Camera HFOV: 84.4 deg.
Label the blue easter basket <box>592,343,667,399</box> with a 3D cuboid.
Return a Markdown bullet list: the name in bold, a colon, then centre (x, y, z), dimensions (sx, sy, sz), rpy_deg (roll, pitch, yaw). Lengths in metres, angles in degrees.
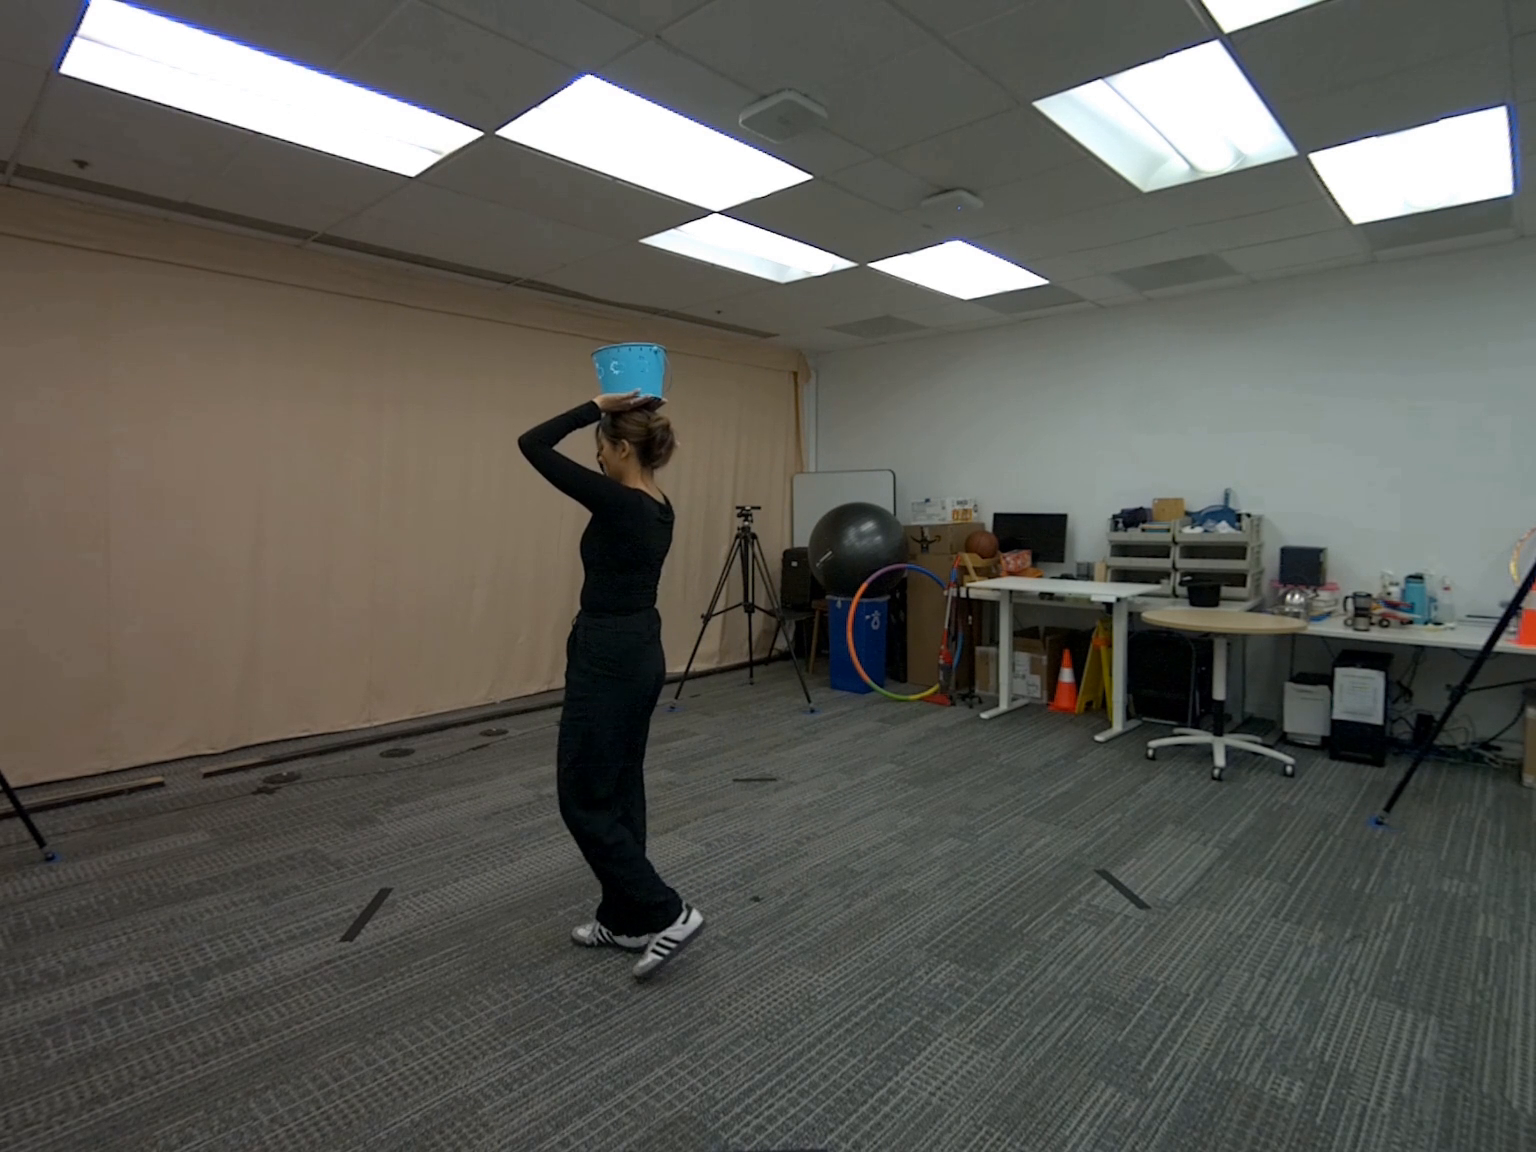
- **blue easter basket**: centre (-0.414, -0.610, 2.572), dimensions (0.243, 0.156, 0.244), rpy_deg (-7, 1, -2)
